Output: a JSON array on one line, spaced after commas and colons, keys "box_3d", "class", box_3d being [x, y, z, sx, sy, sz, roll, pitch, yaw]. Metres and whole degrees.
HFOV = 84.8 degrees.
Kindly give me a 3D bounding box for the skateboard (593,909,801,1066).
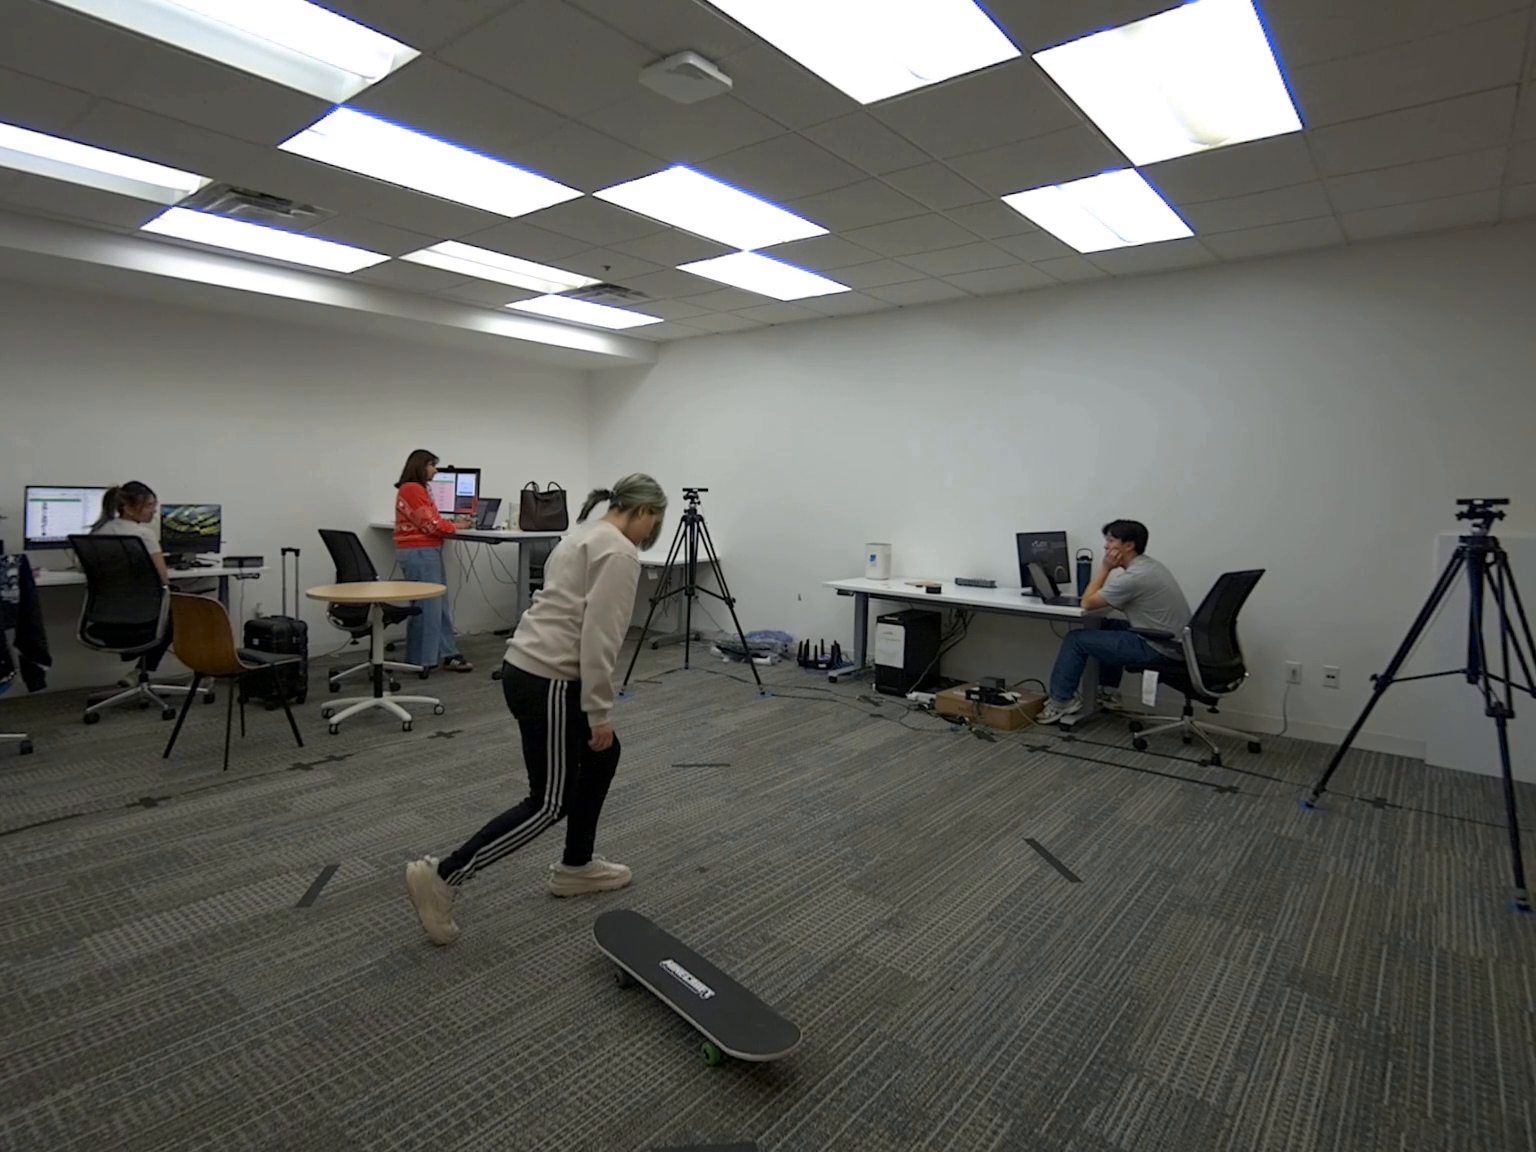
[{"box_3d": [-0.224, 1.102, 2.255, 0.188, 0.110, 0.813, -4, 8, -41], "class": "skateboard"}]
